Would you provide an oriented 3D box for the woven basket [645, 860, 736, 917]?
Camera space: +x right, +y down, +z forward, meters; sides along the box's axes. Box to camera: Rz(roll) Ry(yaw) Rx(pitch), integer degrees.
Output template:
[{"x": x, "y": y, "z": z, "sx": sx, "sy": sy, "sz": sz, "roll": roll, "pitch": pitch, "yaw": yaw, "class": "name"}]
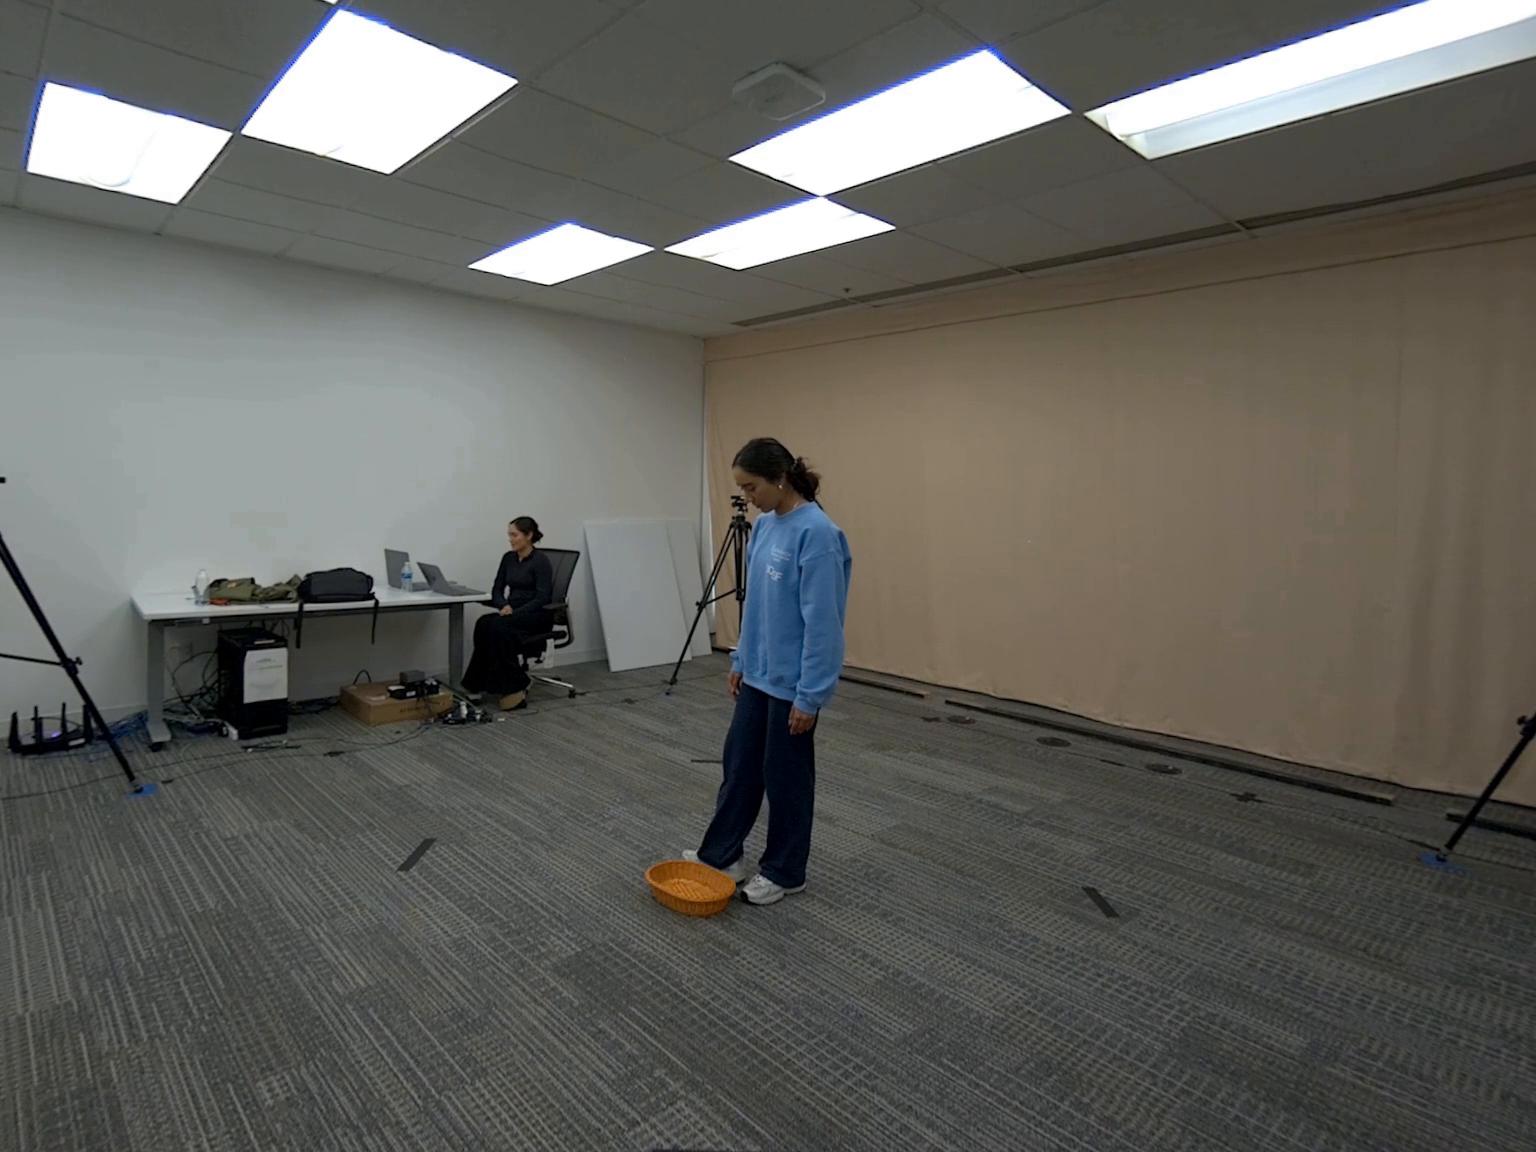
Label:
[{"x": -0.274, "y": 1.077, "z": 2.908, "sx": 0.246, "sy": 0.073, "sz": 0.359, "roll": -3, "pitch": 6, "yaw": -44, "class": "woven basket"}]
